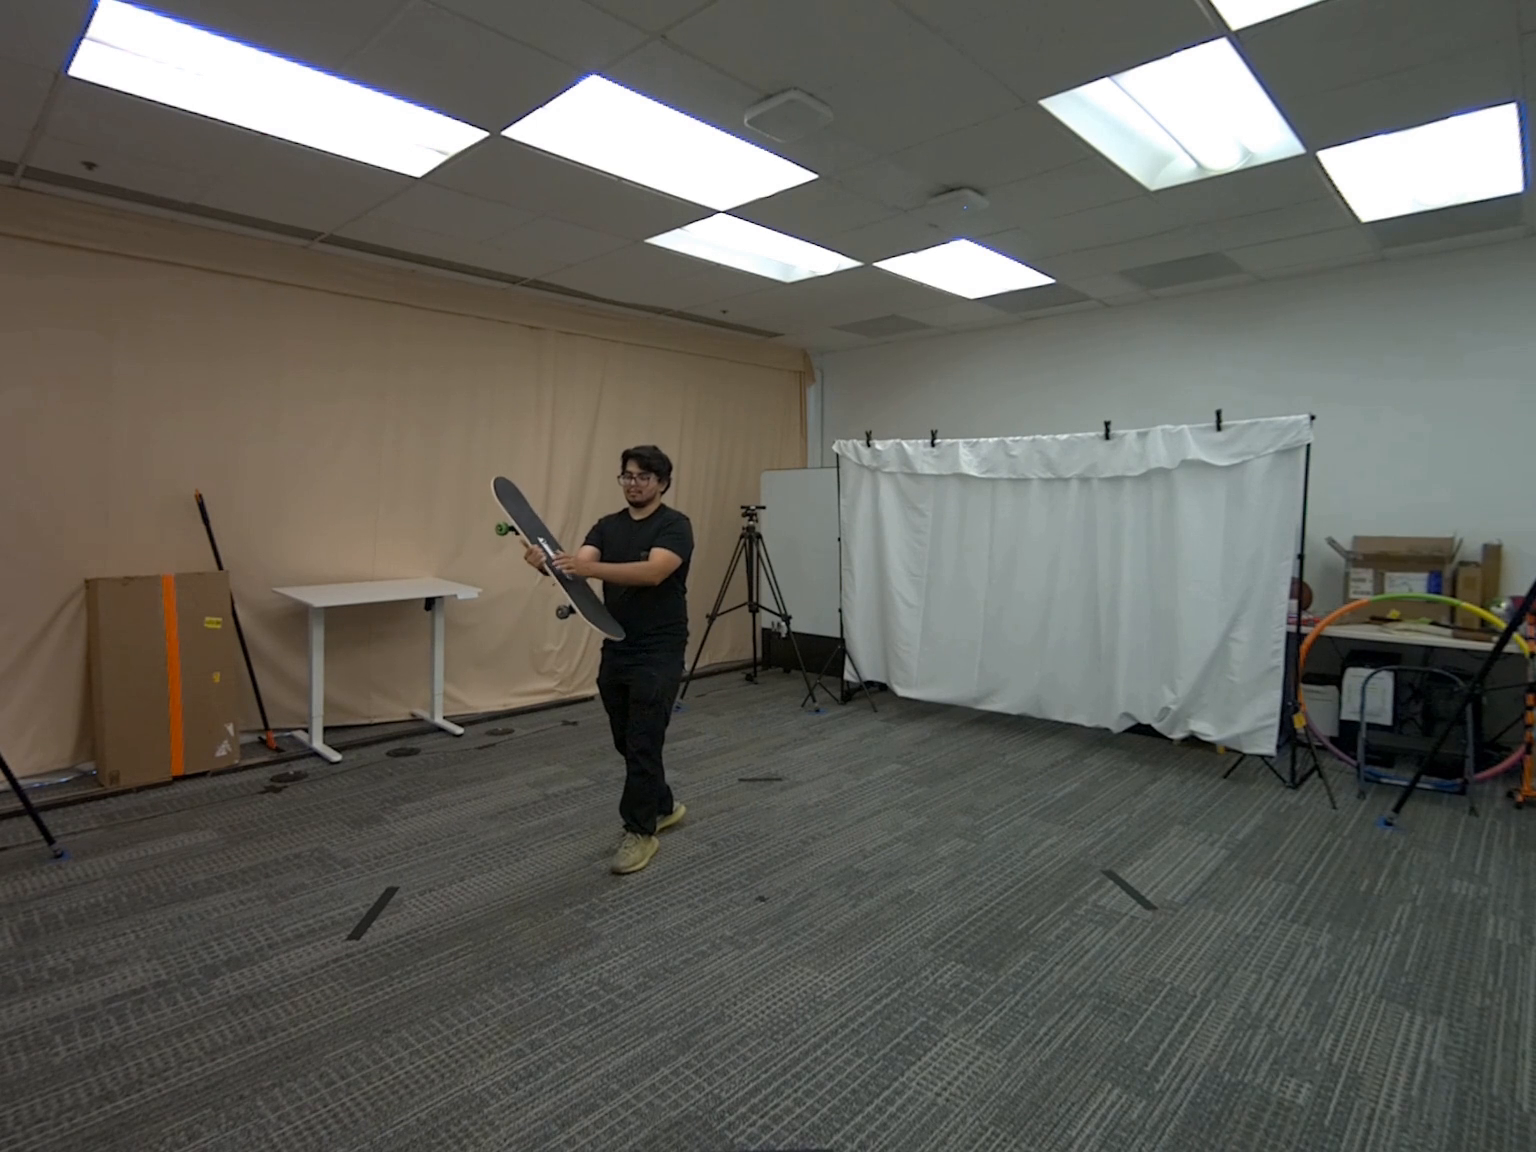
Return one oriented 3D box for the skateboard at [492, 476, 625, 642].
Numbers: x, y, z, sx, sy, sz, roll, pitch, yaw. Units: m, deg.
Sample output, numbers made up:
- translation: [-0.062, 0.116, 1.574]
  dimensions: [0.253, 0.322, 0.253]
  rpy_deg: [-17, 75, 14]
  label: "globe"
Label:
- translation: [-0.792, -0.037, 3.067]
  dimensions: [0.111, 0.800, 0.189]
  rpy_deg: [-43, -17, 14]
  label: "skateboard"
